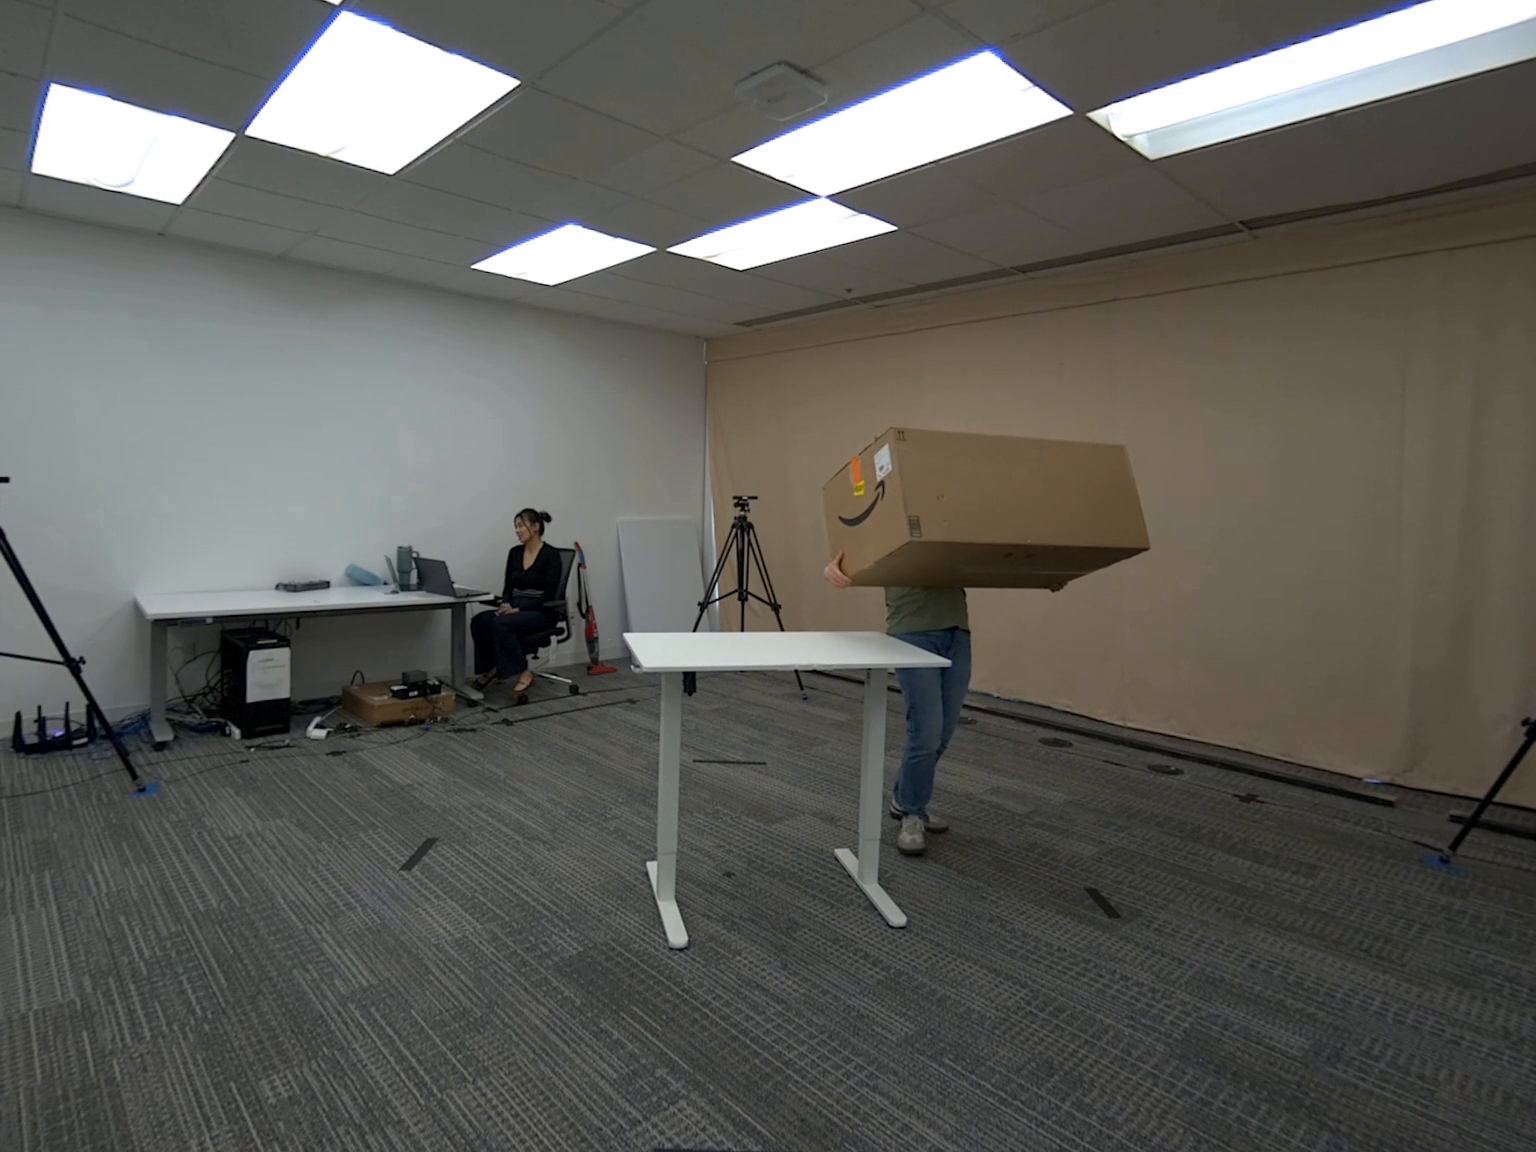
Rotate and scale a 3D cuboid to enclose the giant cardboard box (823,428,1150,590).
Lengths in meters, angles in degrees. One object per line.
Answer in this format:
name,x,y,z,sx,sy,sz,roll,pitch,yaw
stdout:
giant cardboard box,0.804,-0.230,3.249,1.010,0.432,0.579,1,-18,-21
